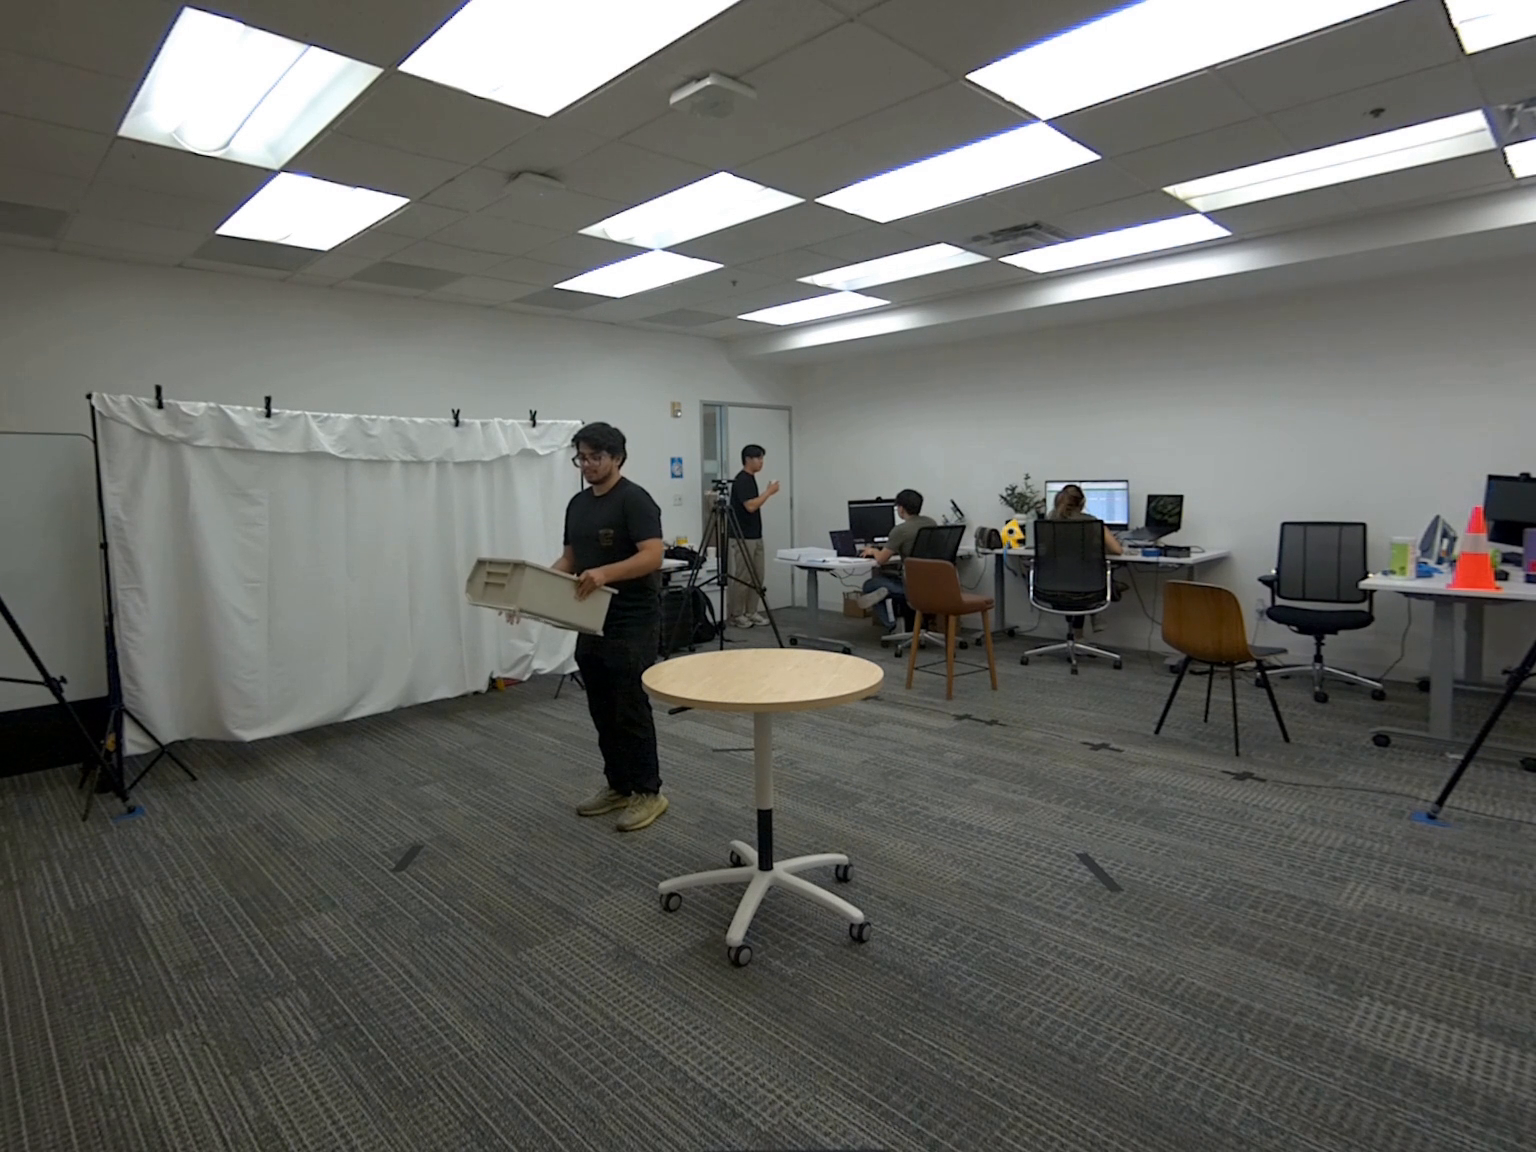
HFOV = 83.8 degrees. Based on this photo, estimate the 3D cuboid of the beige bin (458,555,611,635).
[{"bbox_3d":[-0.865,0.080,3.225,0.389,0.190,0.407,5,-12,45],"label":"beige bin"}]
